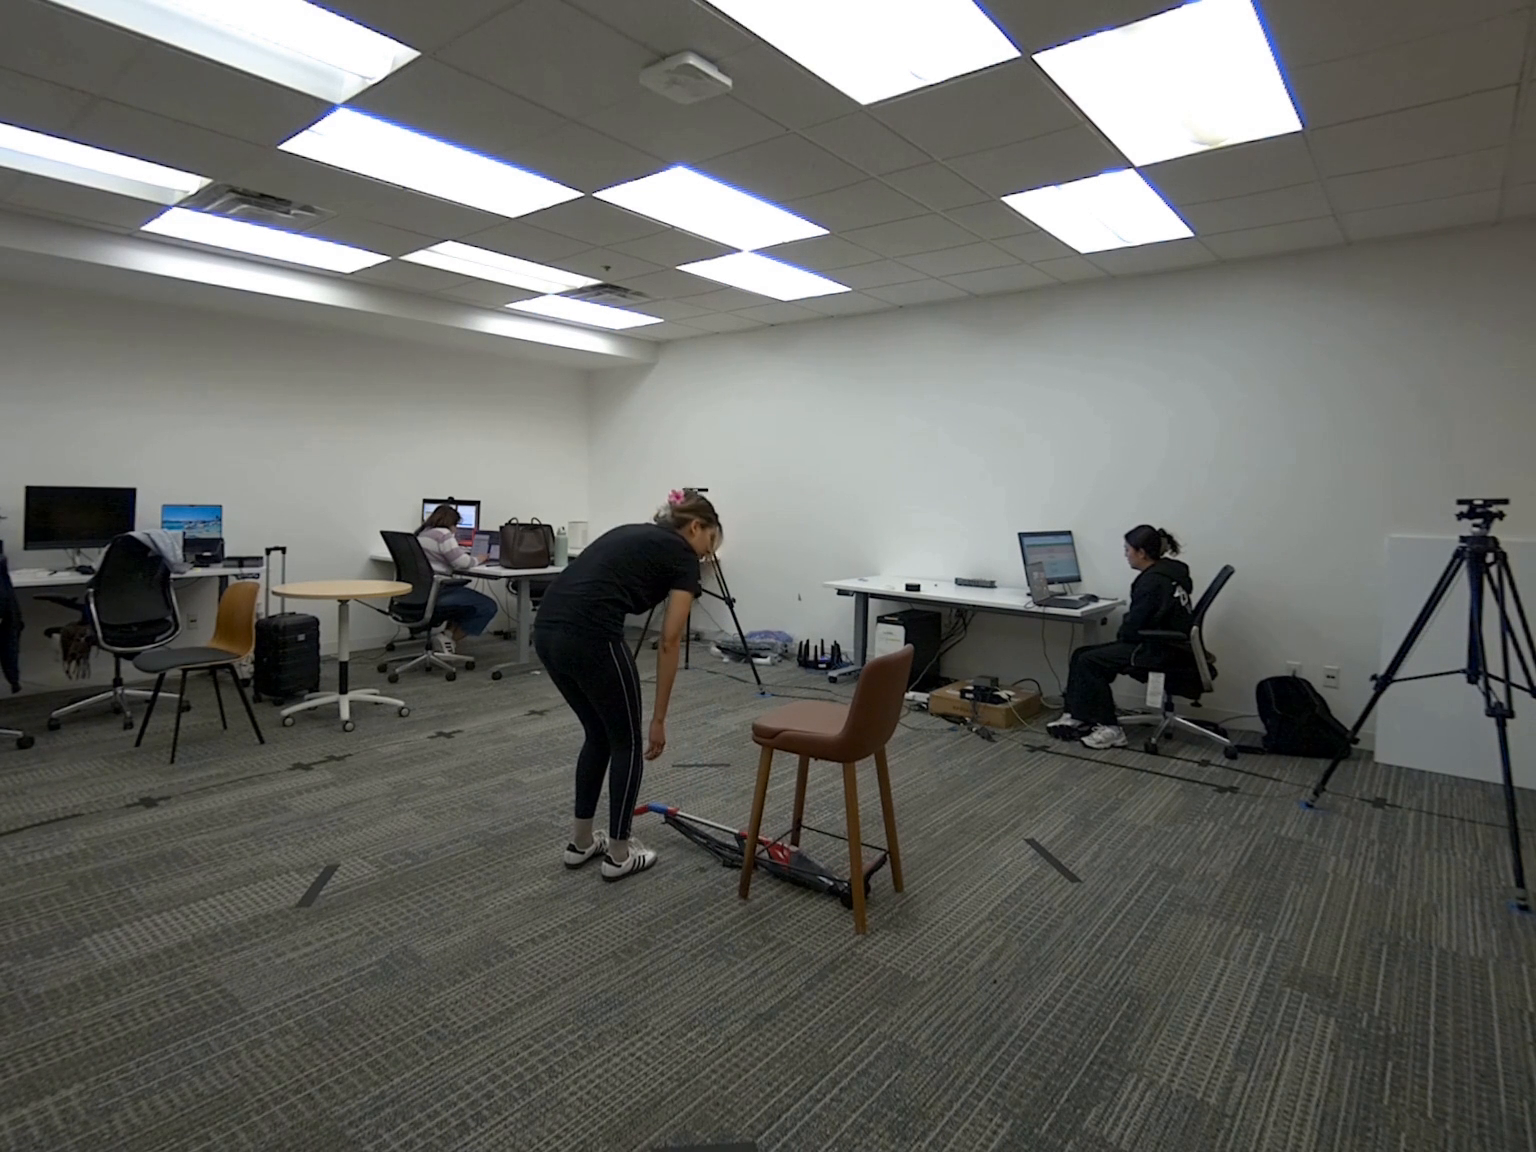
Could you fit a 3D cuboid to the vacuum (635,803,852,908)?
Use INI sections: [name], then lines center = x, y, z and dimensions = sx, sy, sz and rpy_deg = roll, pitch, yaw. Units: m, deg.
[vacuum]
center = -0.131, 1.009, 3.180
dimensions = 1.083, 0.143, 0.245
rpy_deg = 4, 5, 35
